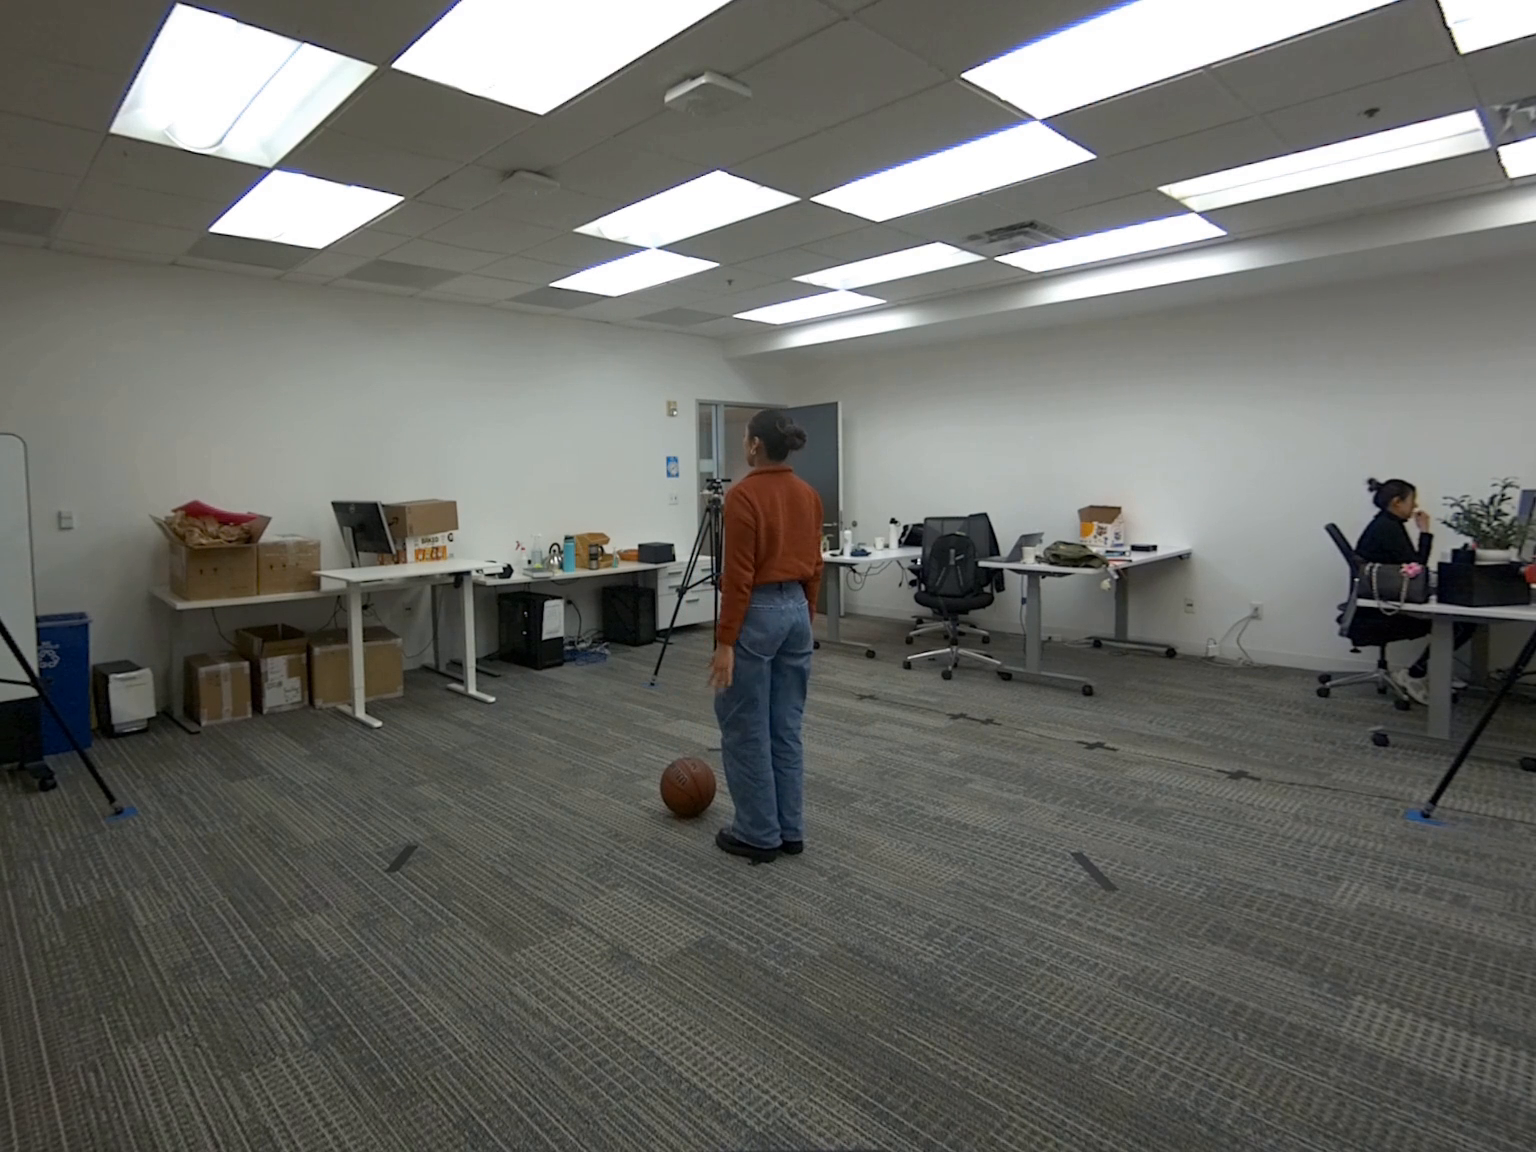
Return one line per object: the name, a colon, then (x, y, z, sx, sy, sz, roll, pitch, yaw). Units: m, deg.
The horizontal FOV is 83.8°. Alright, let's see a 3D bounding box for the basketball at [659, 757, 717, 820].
basketball: (-0.334, 0.879, 3.565, 0.236, 0.235, 0.237, -1, 5, -2)
